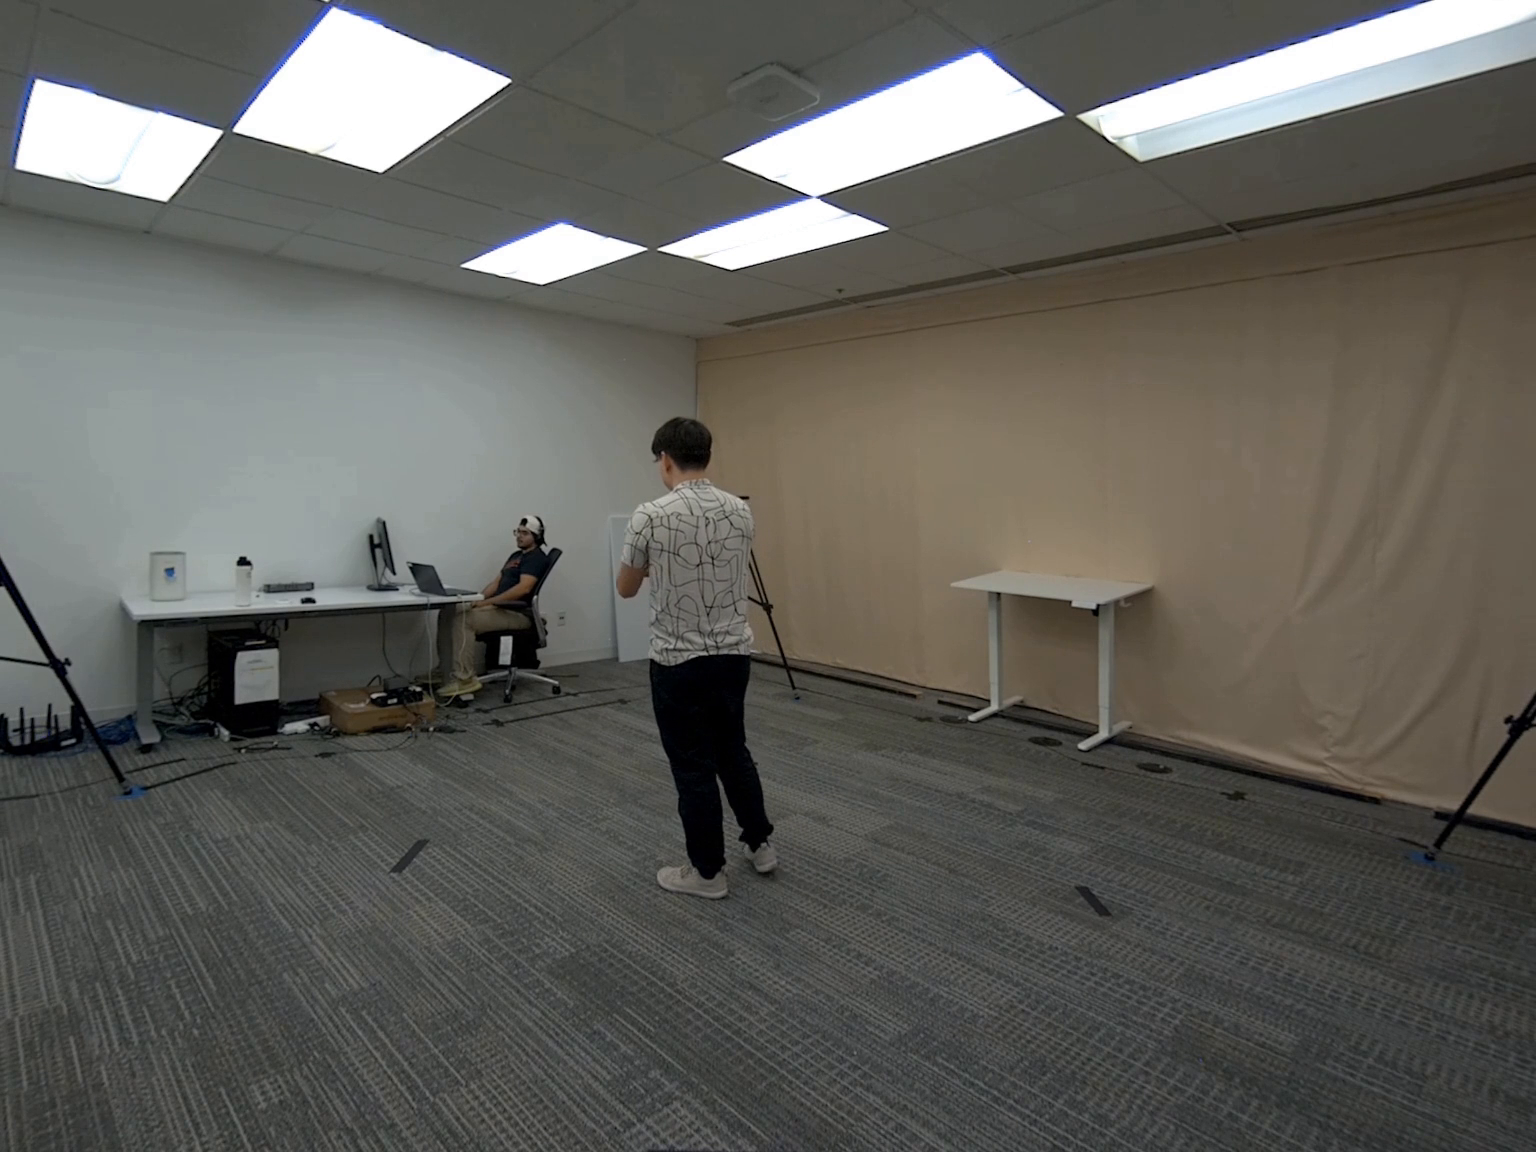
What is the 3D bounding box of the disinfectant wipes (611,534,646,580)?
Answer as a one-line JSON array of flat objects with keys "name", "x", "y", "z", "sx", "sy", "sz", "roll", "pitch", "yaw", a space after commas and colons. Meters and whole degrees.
[{"name": "disinfectant wipes", "x": -0.527, "y": -0.075, "z": 3.295, "sx": 0.118, "sy": 0.119, "sz": 0.214, "roll": 2, "pitch": -15, "yaw": 3}]
